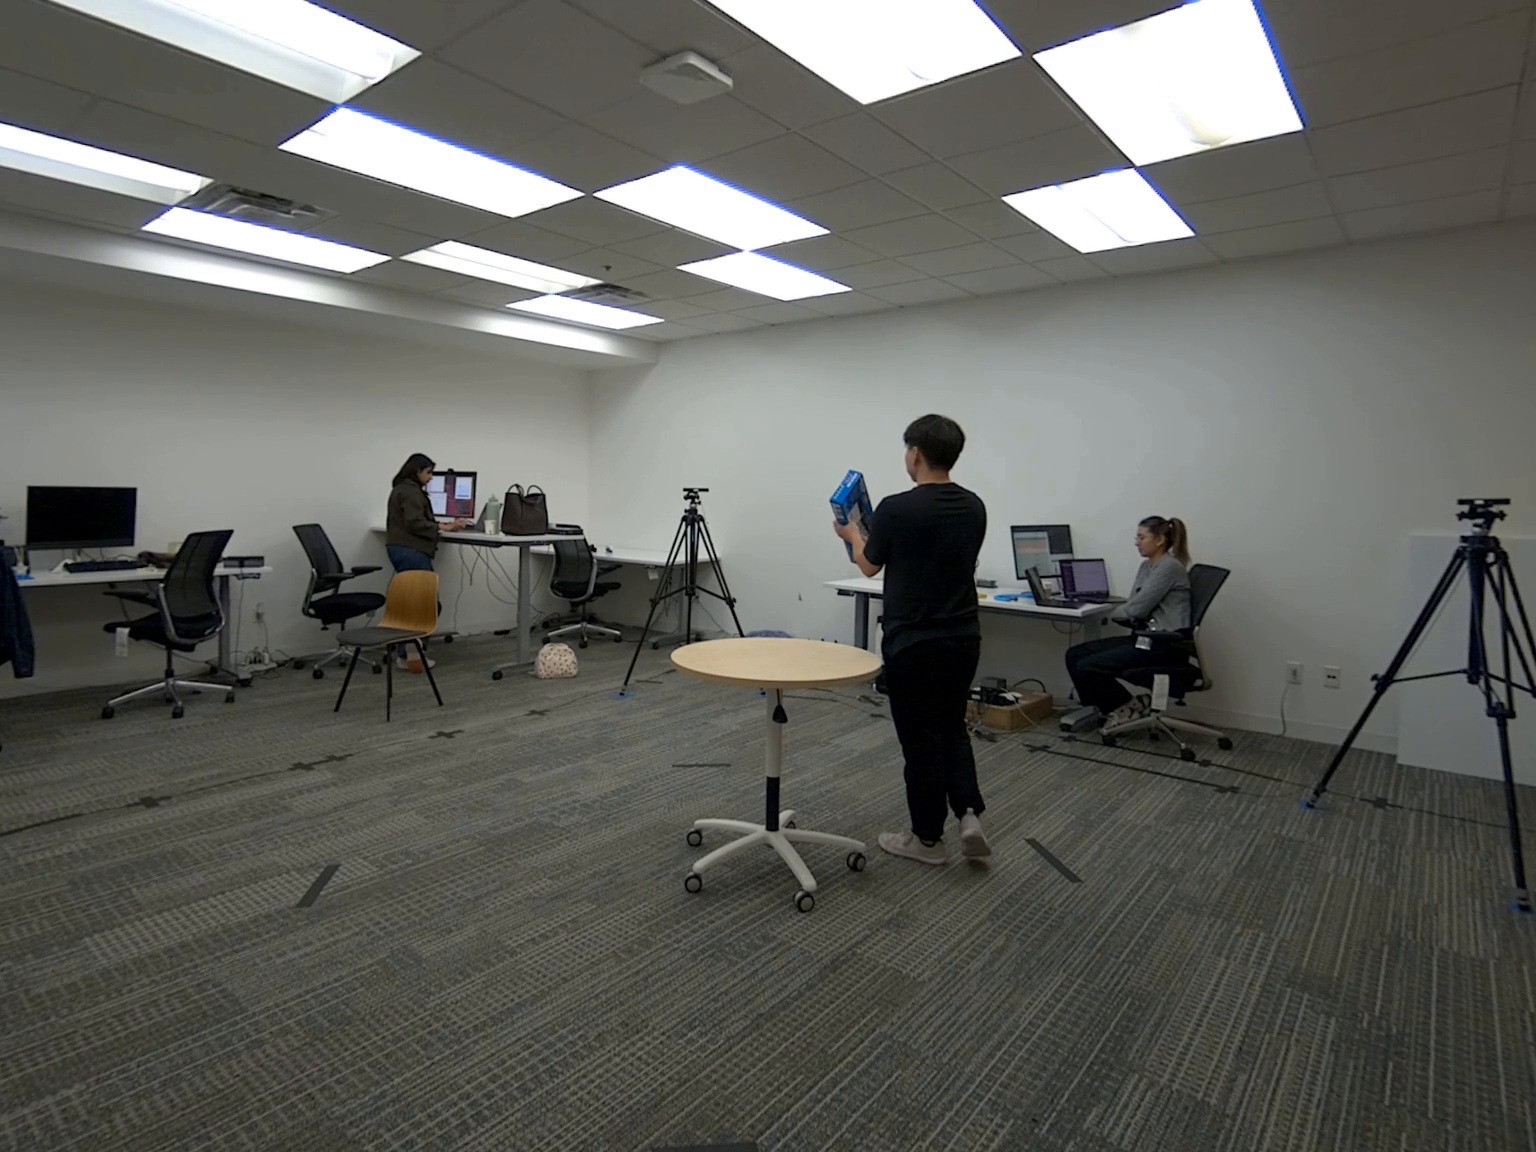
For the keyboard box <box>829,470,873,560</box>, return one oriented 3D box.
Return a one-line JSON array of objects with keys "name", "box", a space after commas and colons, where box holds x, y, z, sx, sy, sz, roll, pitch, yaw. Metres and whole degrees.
[{"name": "keyboard box", "box": [0.361, -0.240, 3.579, 0.061, 0.176, 0.420, 21, -26, 31]}]
